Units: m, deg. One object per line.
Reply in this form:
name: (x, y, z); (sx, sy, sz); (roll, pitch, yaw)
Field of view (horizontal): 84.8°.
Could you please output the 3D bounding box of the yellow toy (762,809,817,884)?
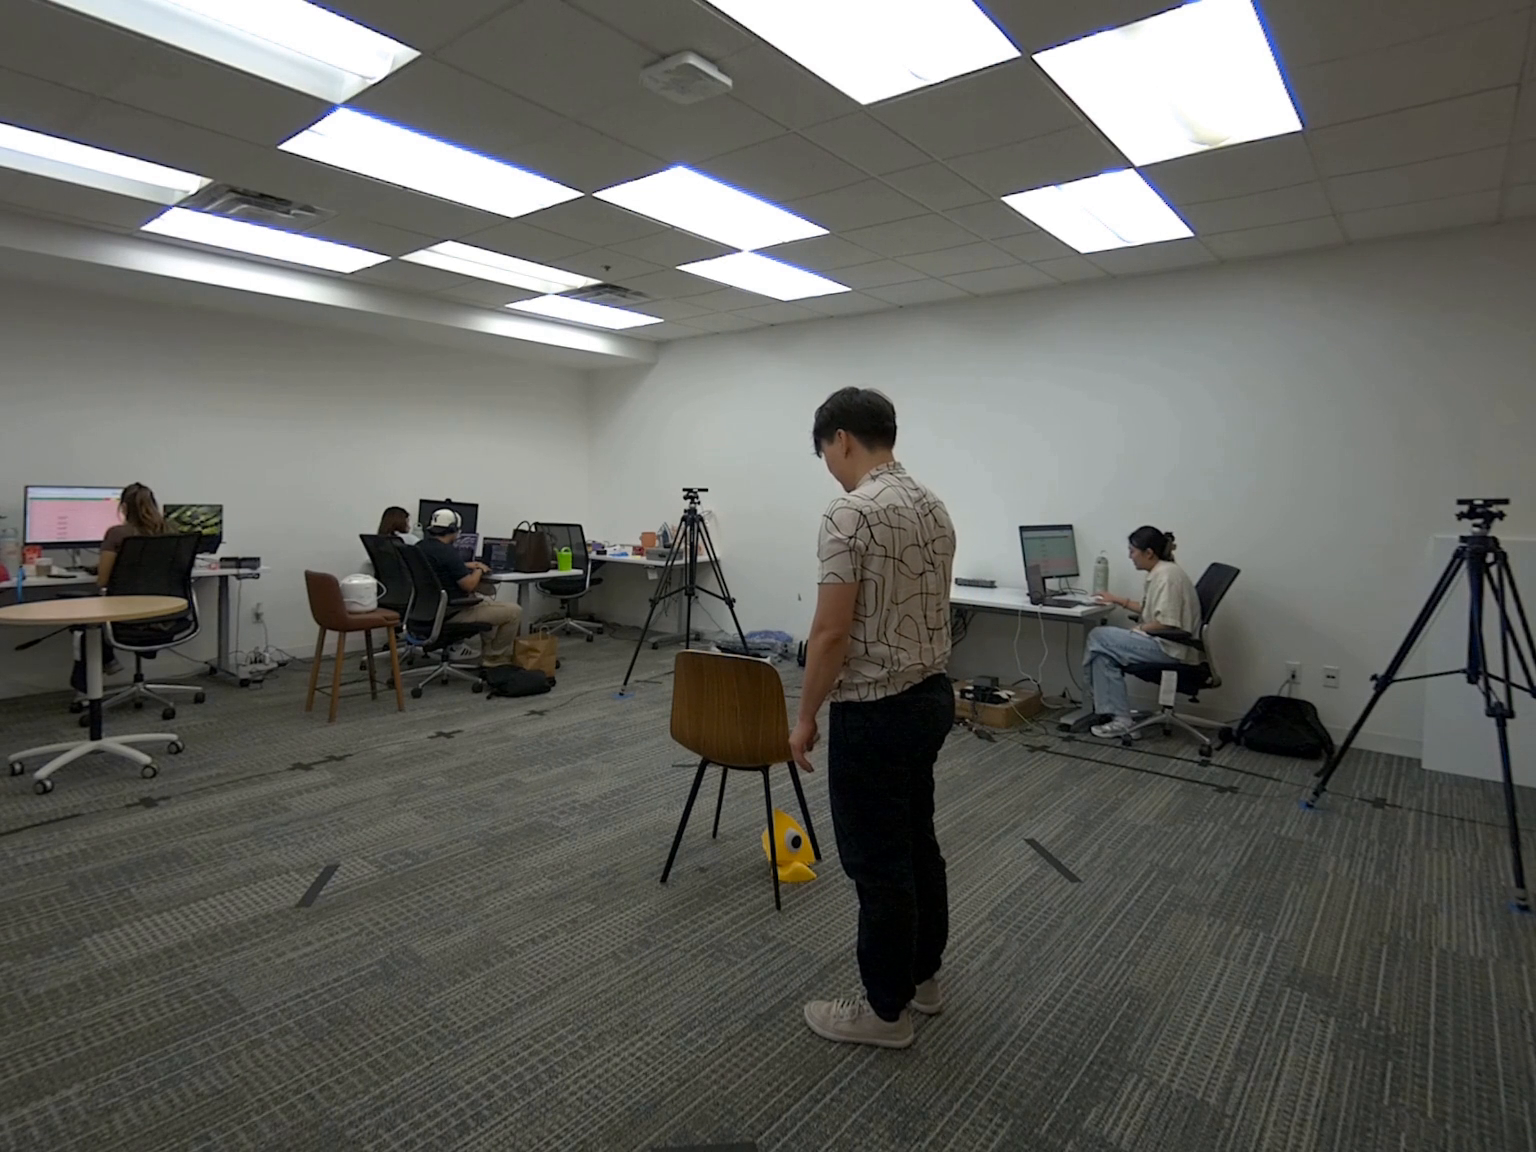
yellow toy: (0.074, 0.958, 3.118); (0.192, 0.230, 0.207); (-1, 5, -7)
